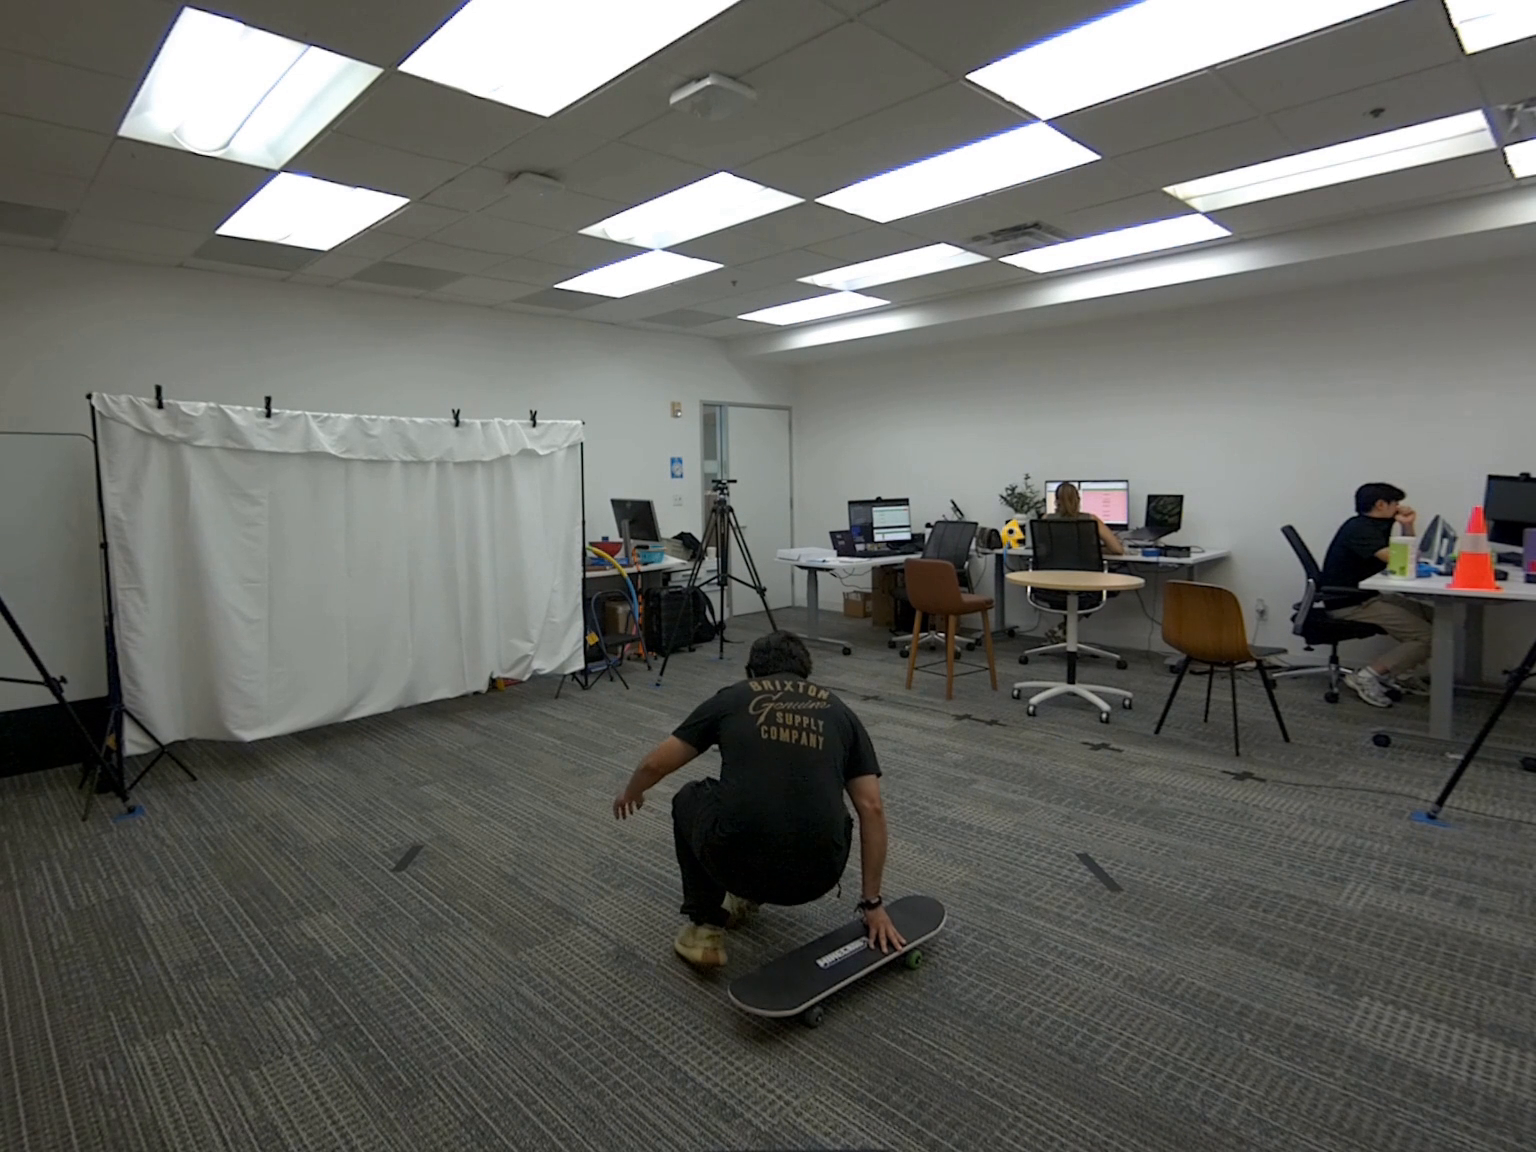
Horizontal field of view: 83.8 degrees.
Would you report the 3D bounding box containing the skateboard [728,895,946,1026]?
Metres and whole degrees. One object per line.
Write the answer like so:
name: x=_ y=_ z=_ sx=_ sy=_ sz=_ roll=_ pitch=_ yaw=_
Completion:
skateboard: x=0.217 y=1.071 z=2.374 sx=0.765 sy=0.110 sz=0.199 roll=-7 pitch=9 yaw=-40
